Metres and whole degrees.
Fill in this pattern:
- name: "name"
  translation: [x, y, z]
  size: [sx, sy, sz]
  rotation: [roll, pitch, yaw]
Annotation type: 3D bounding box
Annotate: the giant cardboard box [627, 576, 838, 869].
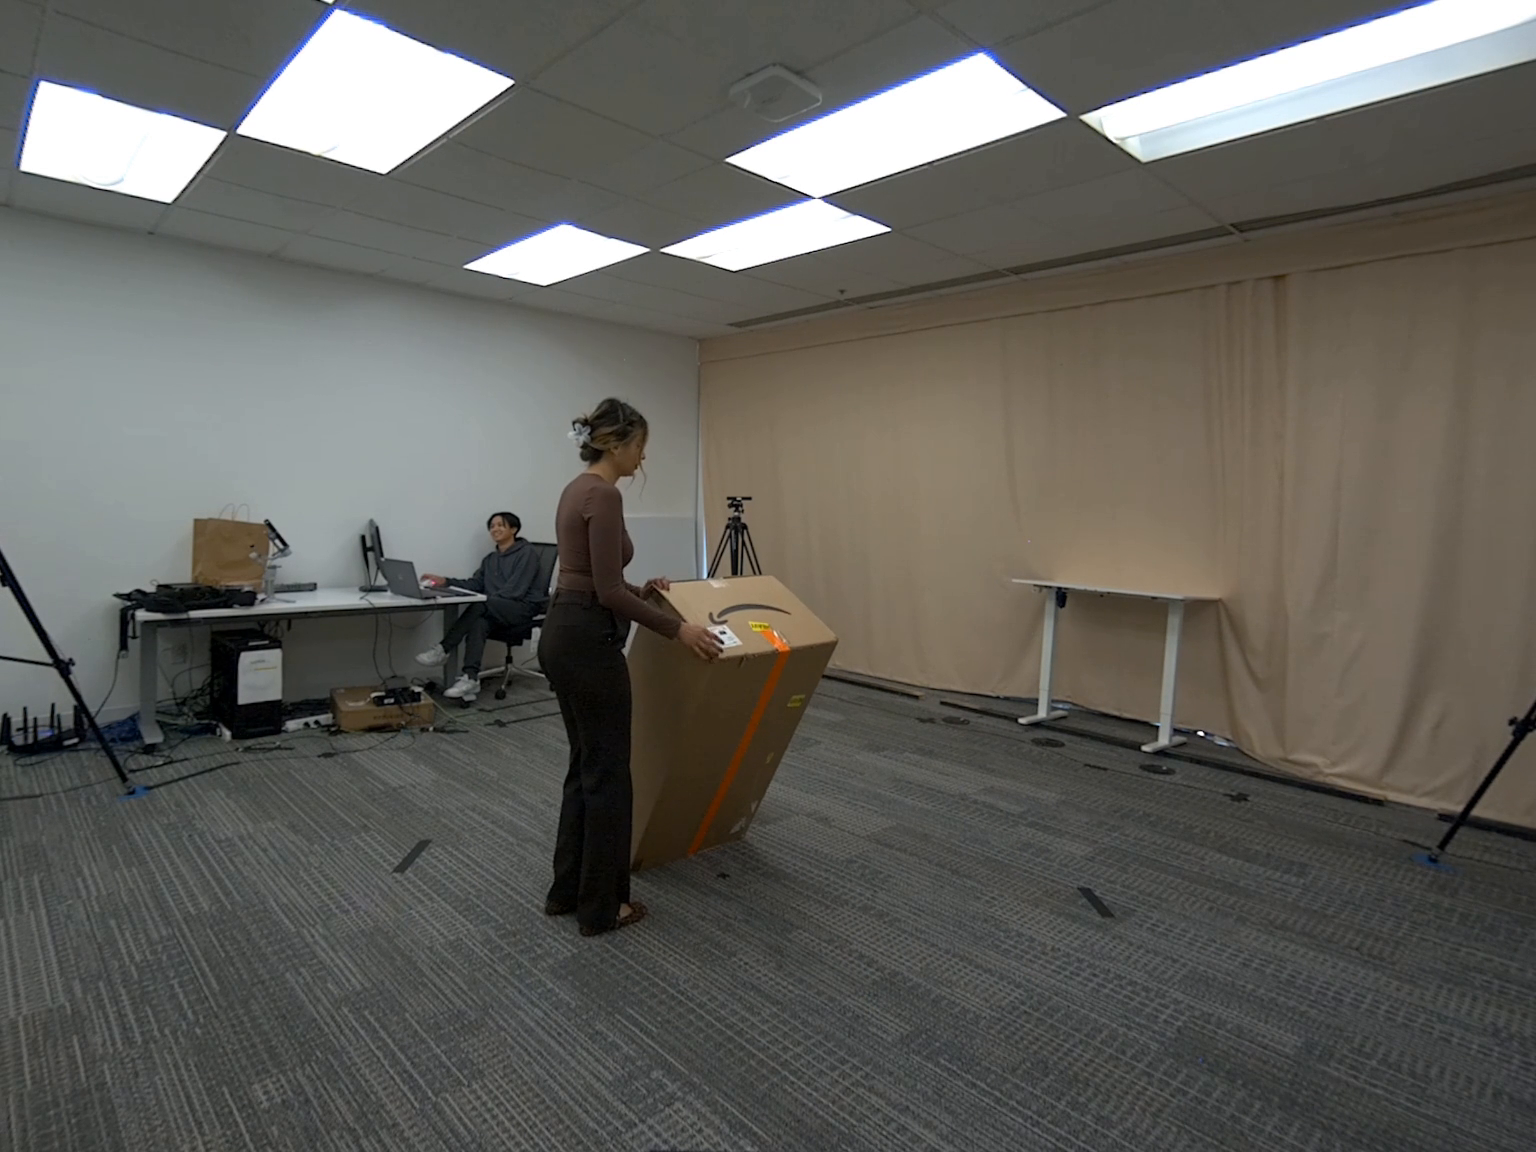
- name: "giant cardboard box"
  translation: [-0.252, 0.550, 3.189]
  size: [0.571, 1.017, 0.461]
  rotation: [-2, 35, -40]
